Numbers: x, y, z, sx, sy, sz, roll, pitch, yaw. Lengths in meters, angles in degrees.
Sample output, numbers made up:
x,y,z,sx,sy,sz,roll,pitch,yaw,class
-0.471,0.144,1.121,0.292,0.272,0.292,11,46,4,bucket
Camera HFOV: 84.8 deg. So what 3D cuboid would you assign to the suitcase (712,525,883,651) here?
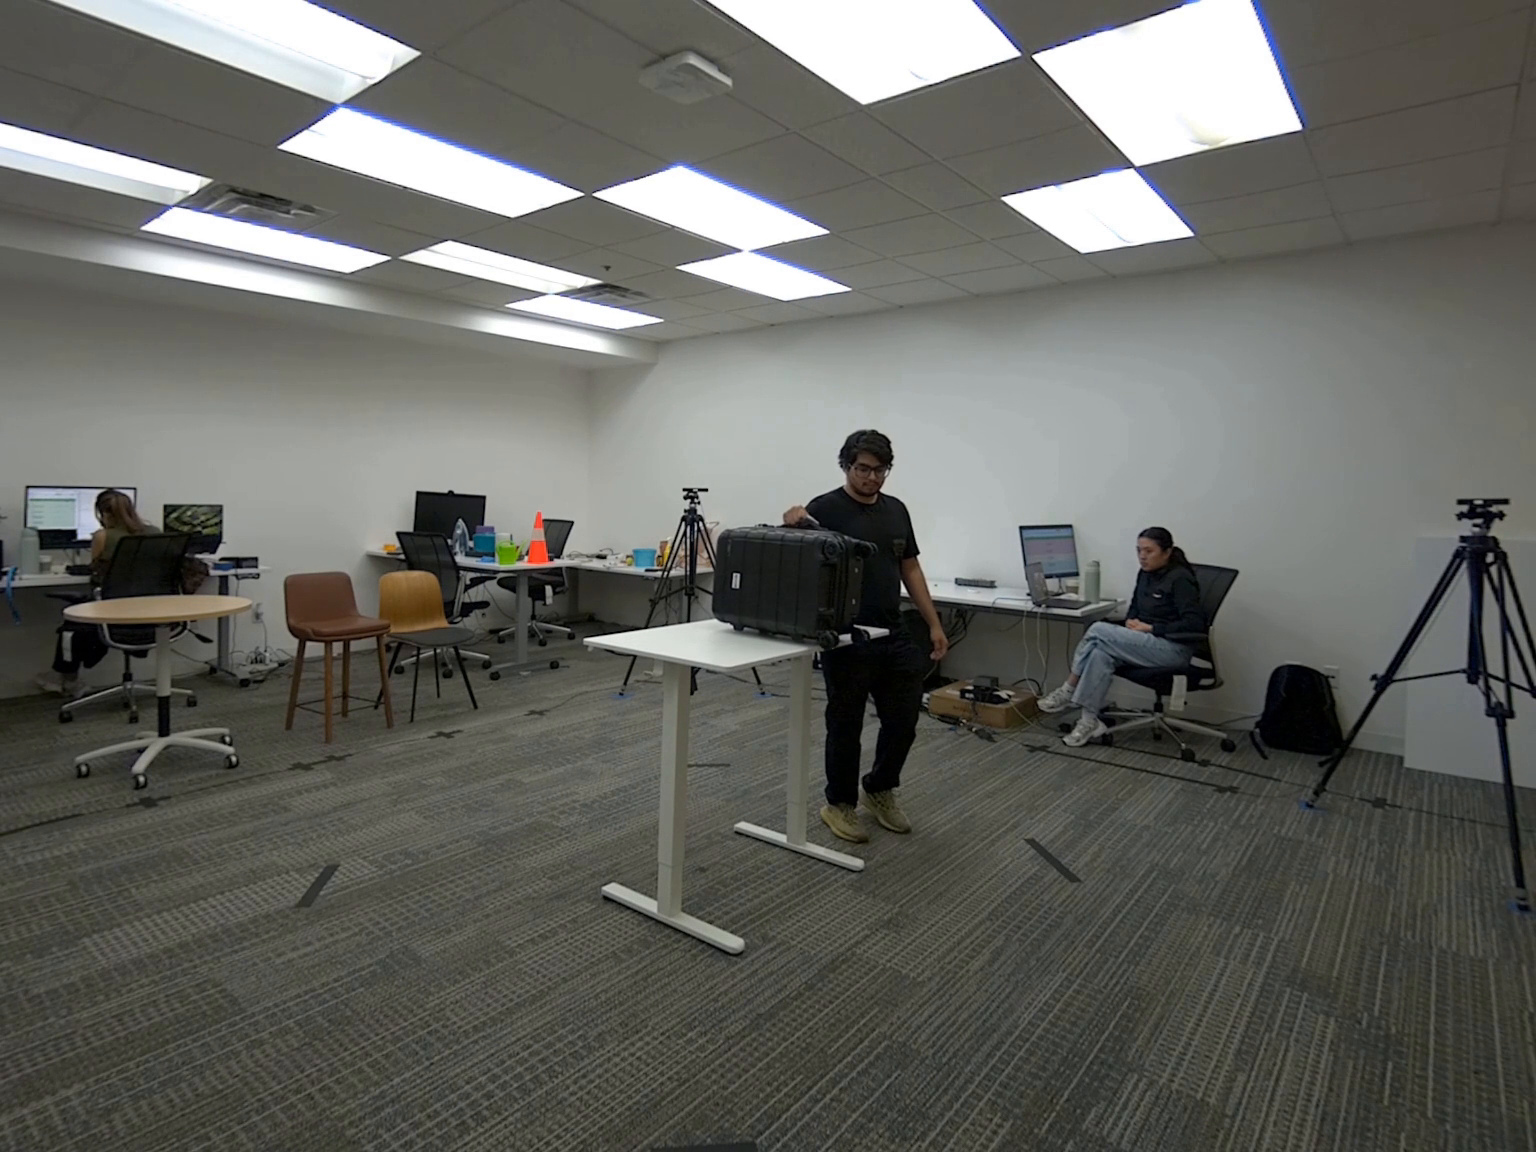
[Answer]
x,y,z,sx,sy,sz,roll,pitch,yaw,class
0.057,0.015,2.960,0.568,0.375,0.240,7,3,39,suitcase
